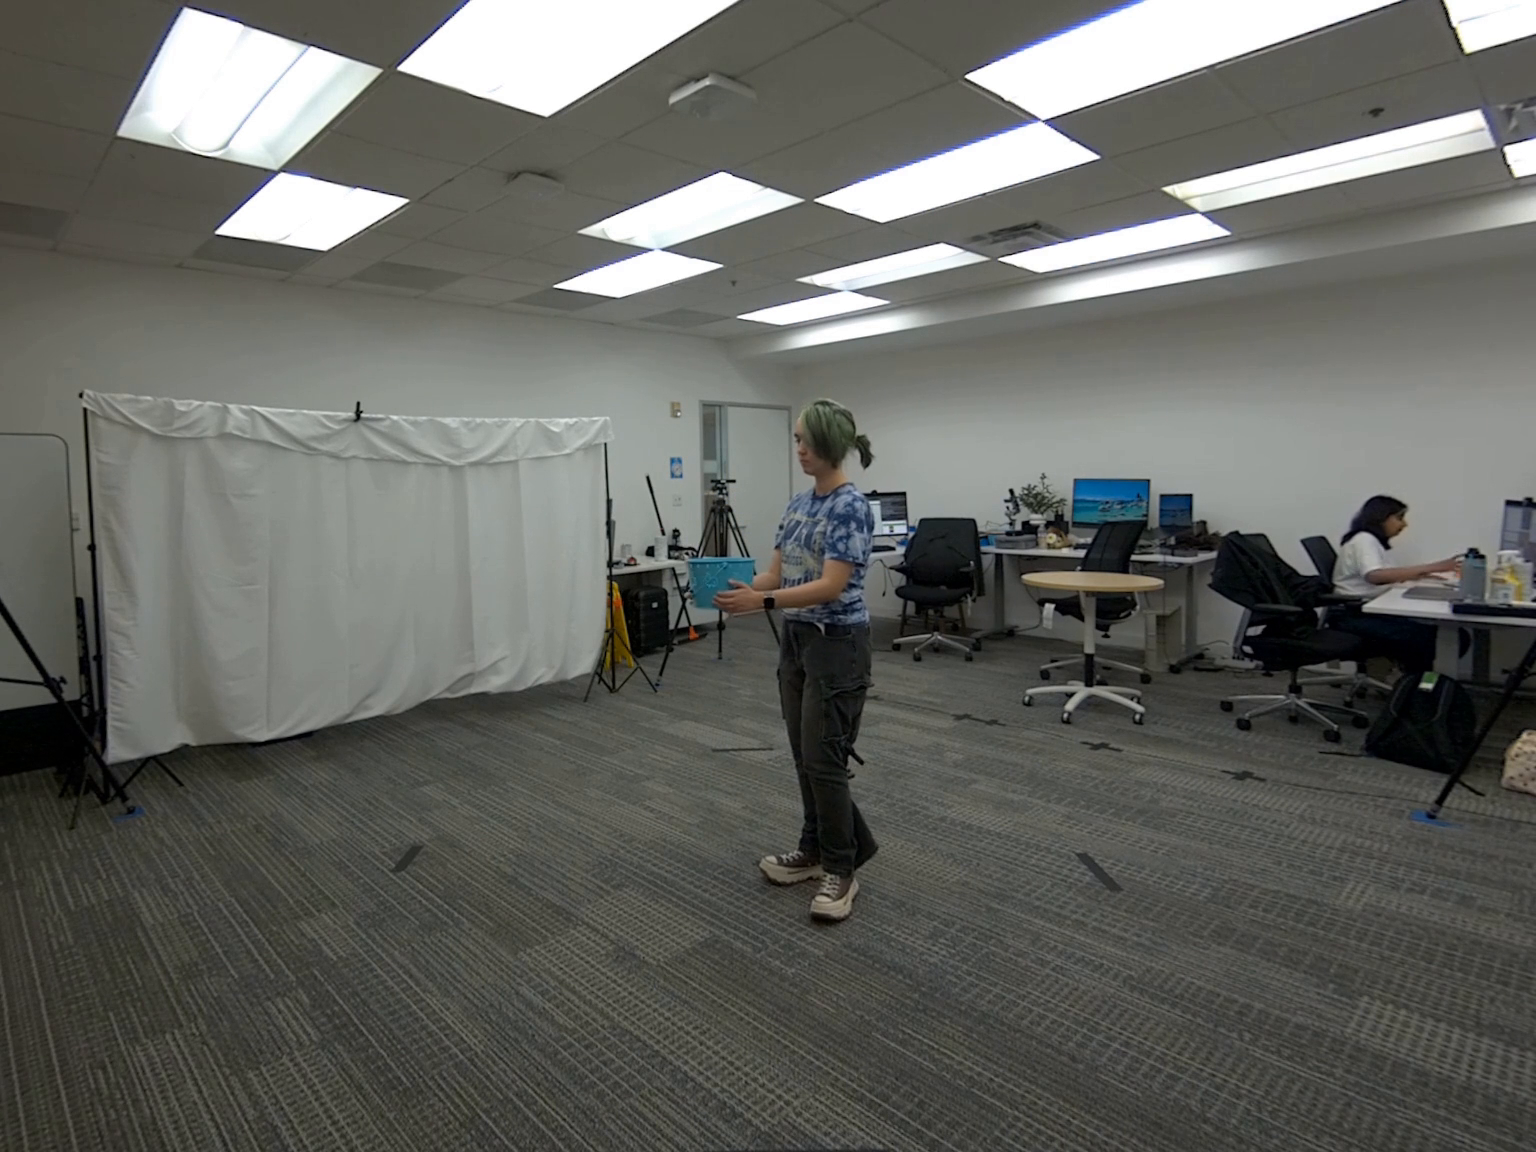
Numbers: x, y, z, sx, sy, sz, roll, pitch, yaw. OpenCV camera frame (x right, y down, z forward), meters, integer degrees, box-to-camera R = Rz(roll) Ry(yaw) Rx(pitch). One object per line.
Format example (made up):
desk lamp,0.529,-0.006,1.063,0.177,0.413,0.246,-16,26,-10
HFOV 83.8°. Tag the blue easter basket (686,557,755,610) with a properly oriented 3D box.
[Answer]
blue easter basket,-0.145,0.020,2.755,0.243,0.155,0.244,-1,4,-2
